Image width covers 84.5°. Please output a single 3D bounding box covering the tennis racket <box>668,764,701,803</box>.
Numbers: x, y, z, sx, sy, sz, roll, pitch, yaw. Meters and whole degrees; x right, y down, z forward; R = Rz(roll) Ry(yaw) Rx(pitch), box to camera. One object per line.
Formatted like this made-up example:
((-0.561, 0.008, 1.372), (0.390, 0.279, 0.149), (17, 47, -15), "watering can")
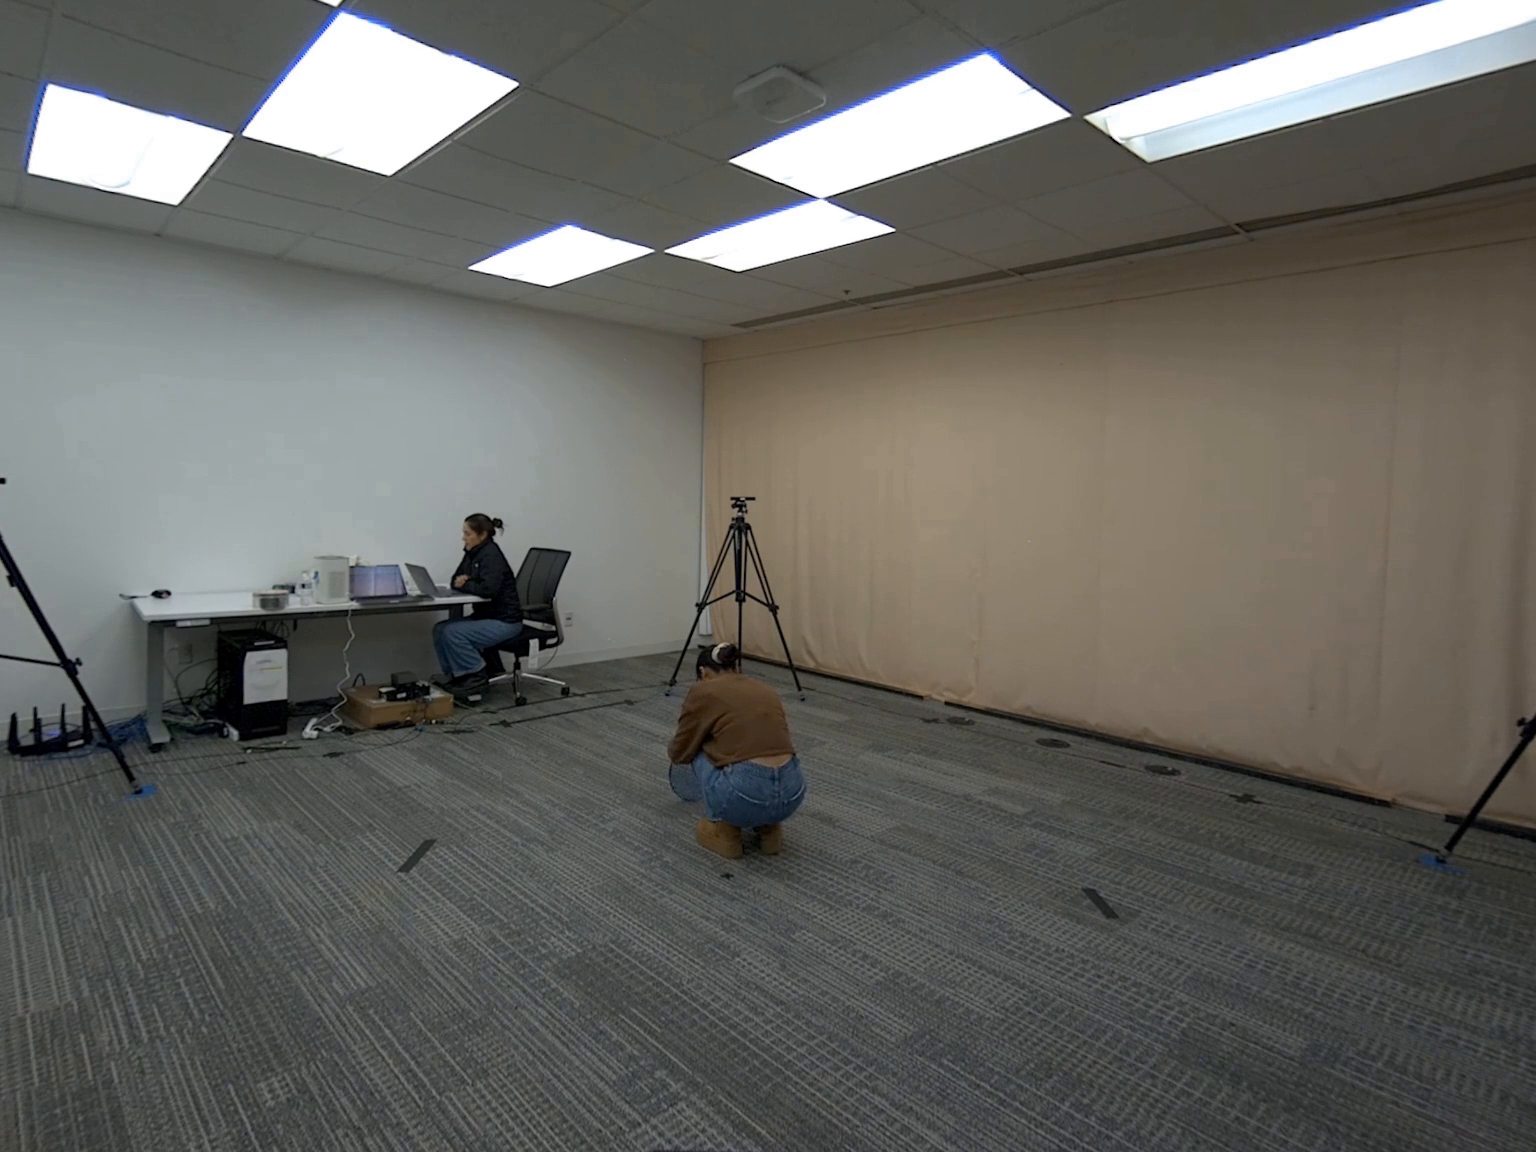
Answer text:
((-0.345, 0.828, 3.832), (0.214, 0.430, 0.032), (1, 10, 1), "tennis racket")
